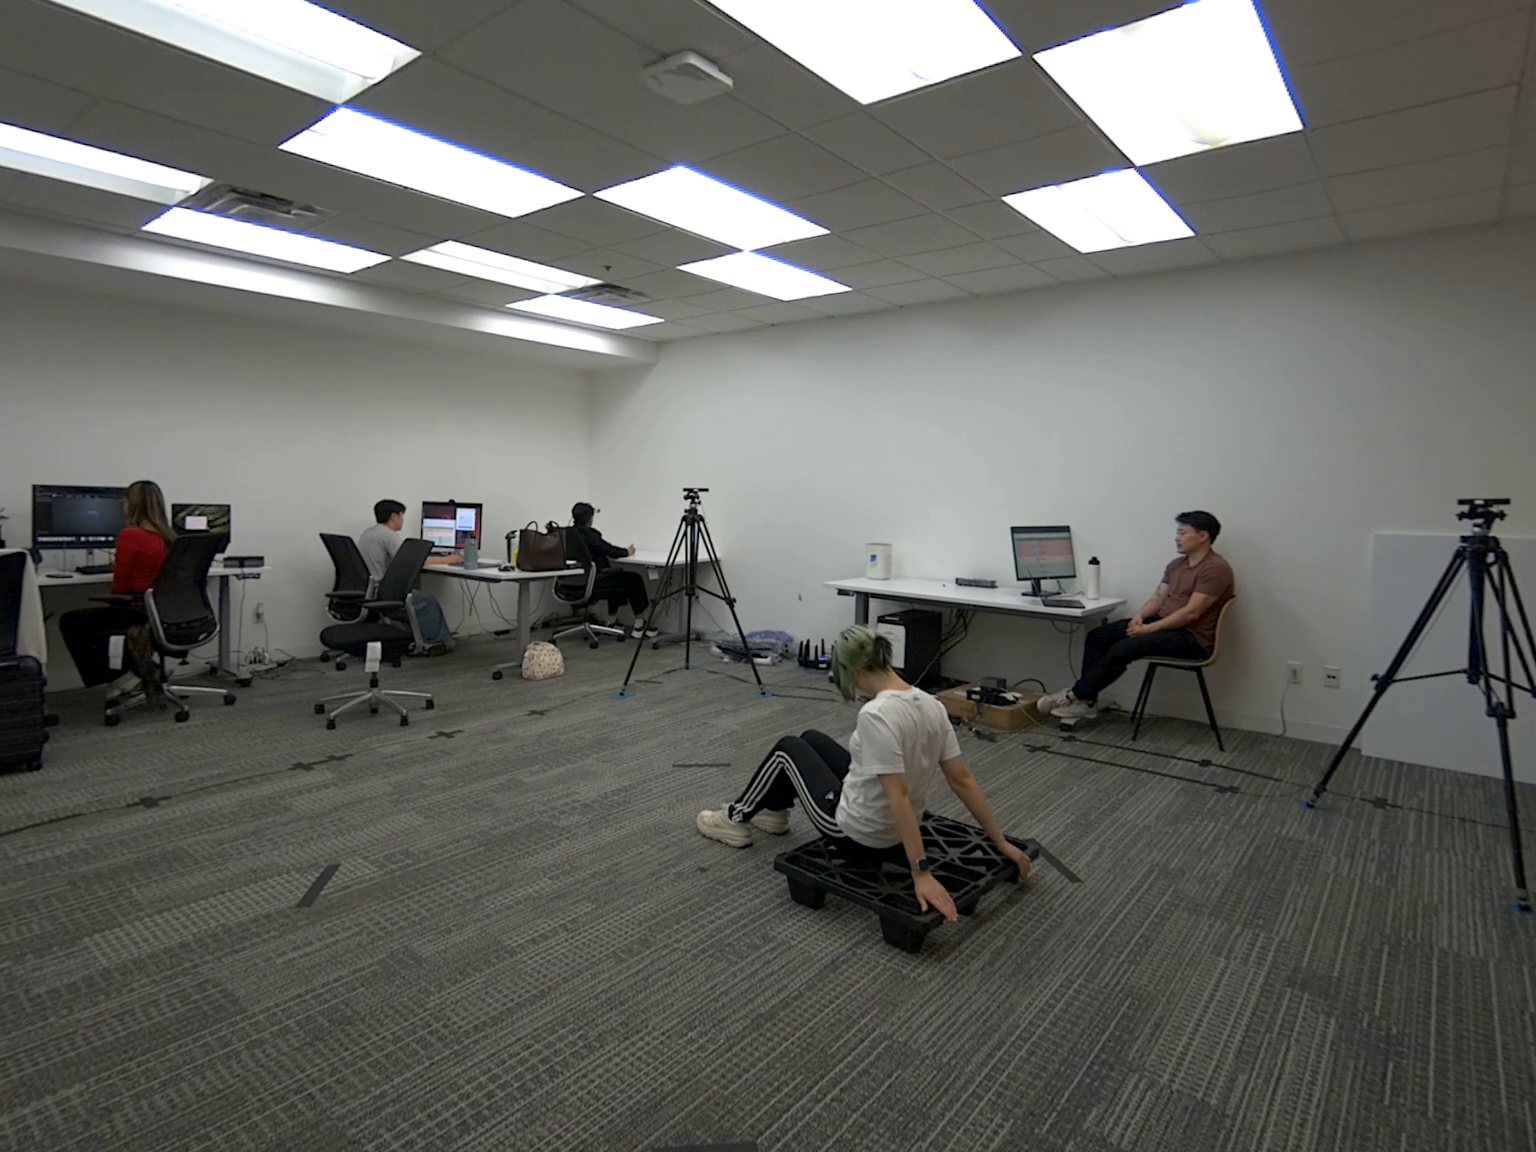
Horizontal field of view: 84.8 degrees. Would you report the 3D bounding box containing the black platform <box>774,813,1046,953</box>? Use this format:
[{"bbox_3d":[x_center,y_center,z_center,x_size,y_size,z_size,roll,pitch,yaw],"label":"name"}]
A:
[{"bbox_3d":[0.484,1.033,2.984,0.626,0.143,0.781,6,7,43],"label":"black platform"}]
